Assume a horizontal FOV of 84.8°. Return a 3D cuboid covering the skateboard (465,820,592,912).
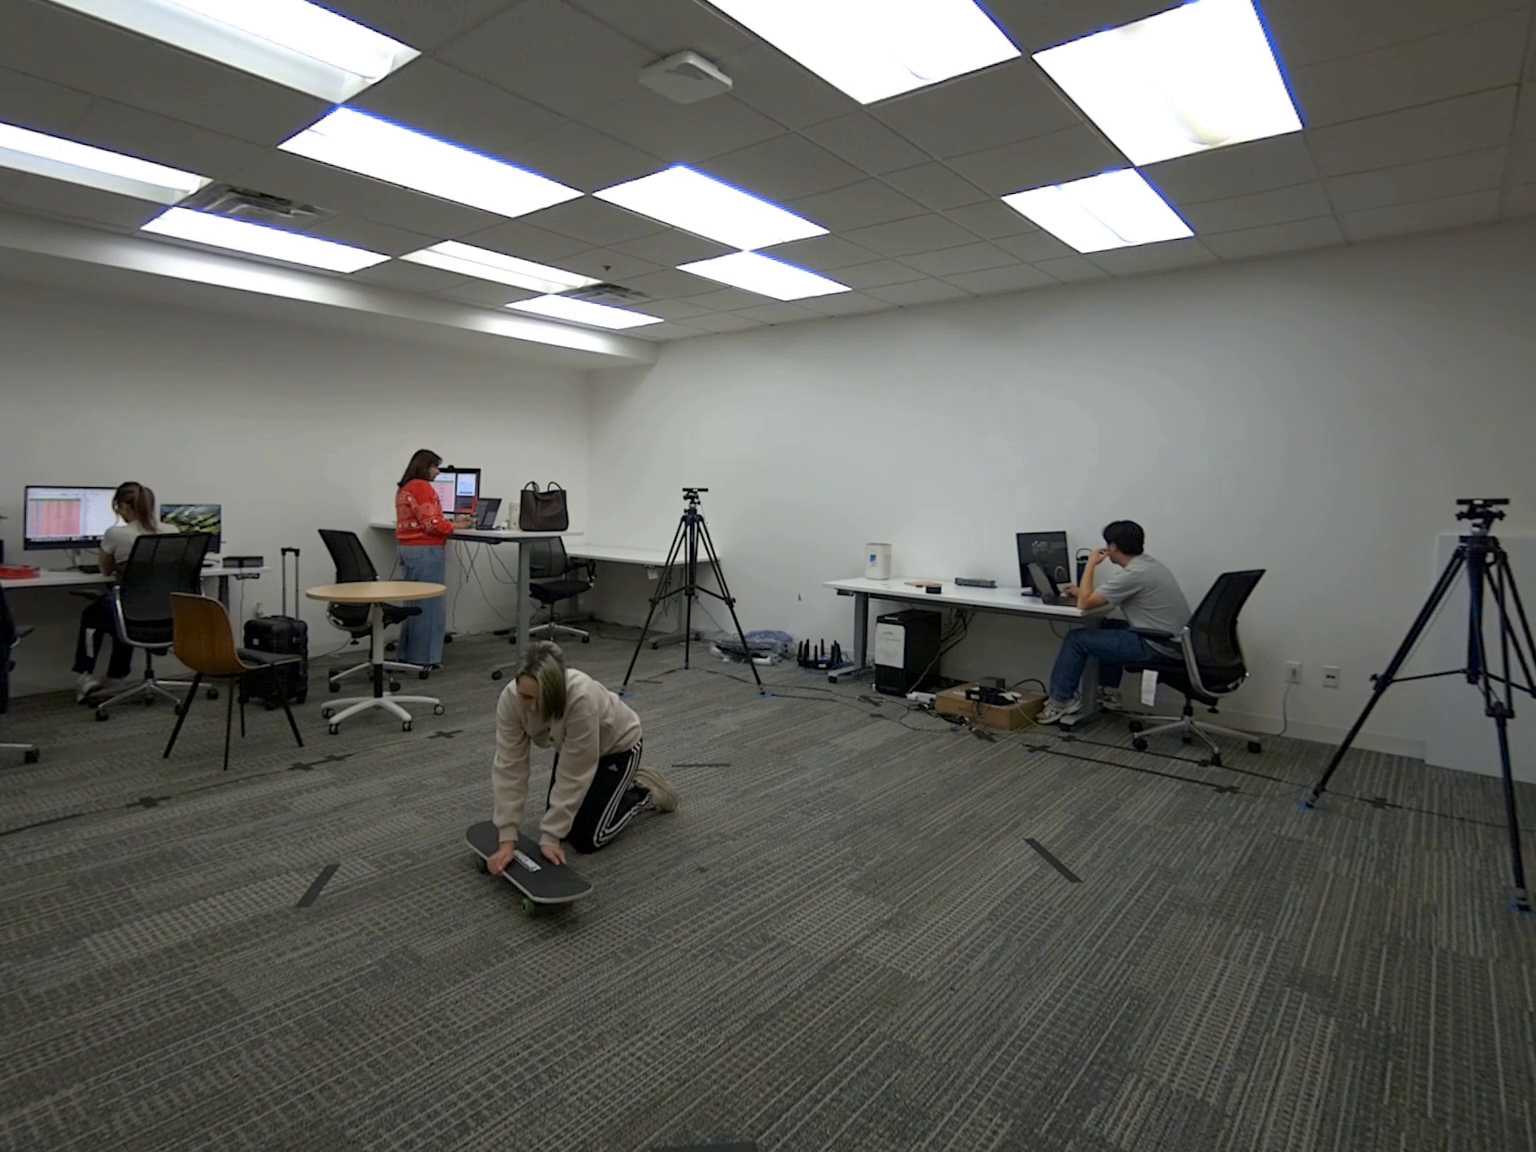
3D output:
[{"bbox_3d":[-0.858,1.008,2.940,0.188,0.110,0.811,-3,5,-37],"label":"skateboard"}]
